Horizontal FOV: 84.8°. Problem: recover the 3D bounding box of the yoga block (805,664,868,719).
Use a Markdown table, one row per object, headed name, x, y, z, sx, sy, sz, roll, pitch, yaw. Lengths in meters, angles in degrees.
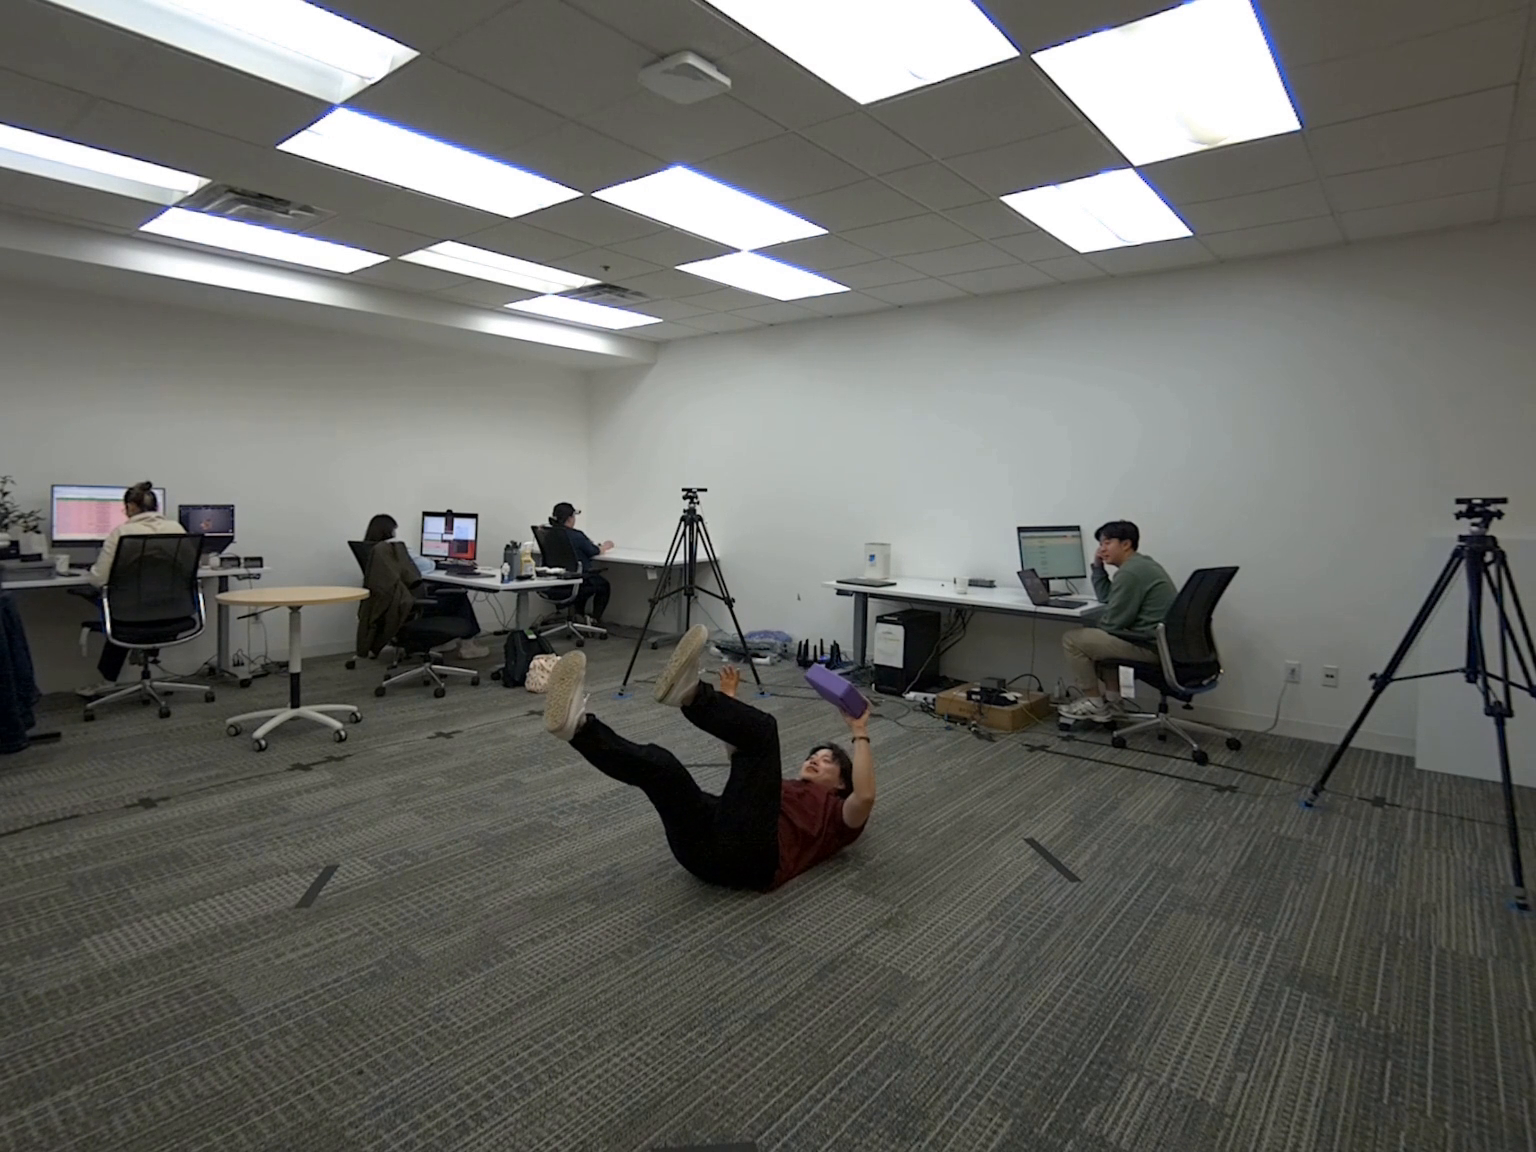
| name | x | y | z | sx | sy | sz | roll | pitch | yaw |
| --- | --- | --- | --- | --- | --- | --- | --- | --- | --- |
| yoga block | 0.243 | 0.431 | 3.242 | 0.238 | 0.076 | 0.143 | 25 | -20 | 53 |
